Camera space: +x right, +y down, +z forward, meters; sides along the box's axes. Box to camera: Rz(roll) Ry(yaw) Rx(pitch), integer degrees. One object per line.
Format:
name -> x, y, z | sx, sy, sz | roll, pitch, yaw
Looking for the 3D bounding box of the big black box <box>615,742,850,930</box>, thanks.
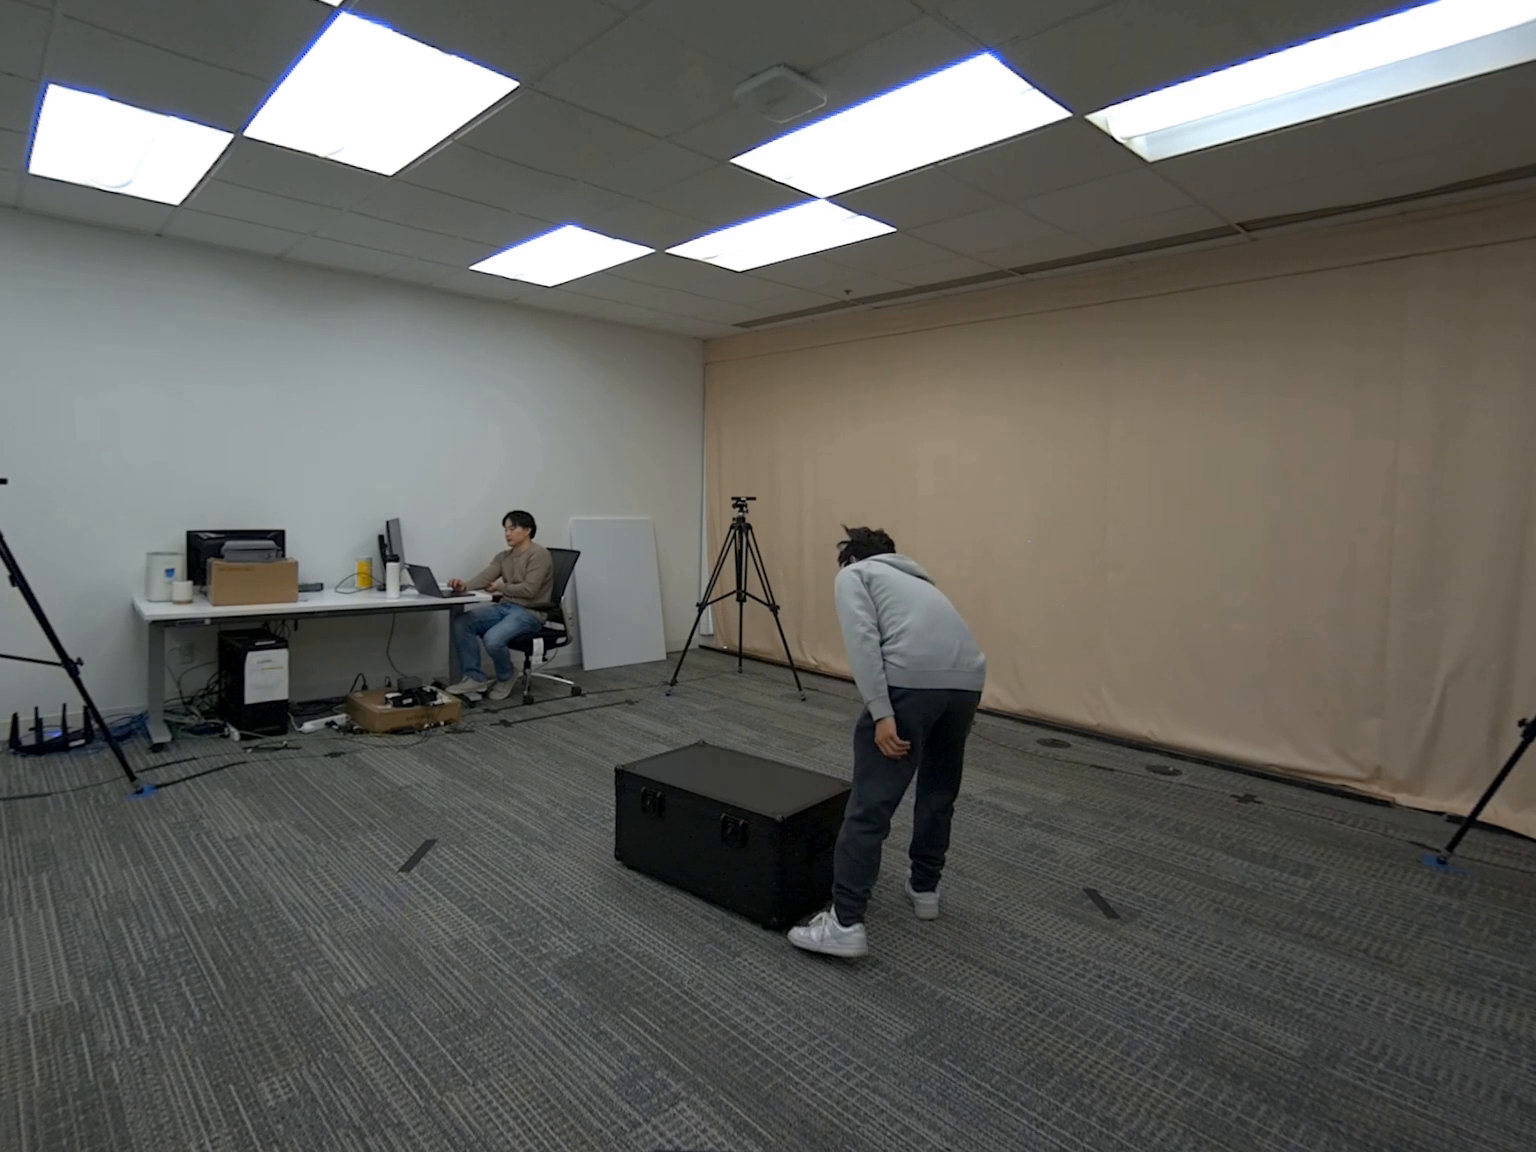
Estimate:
big black box -> -0.109, 0.921, 3.075 | 0.883, 0.395, 0.510 | 5, 6, 40
